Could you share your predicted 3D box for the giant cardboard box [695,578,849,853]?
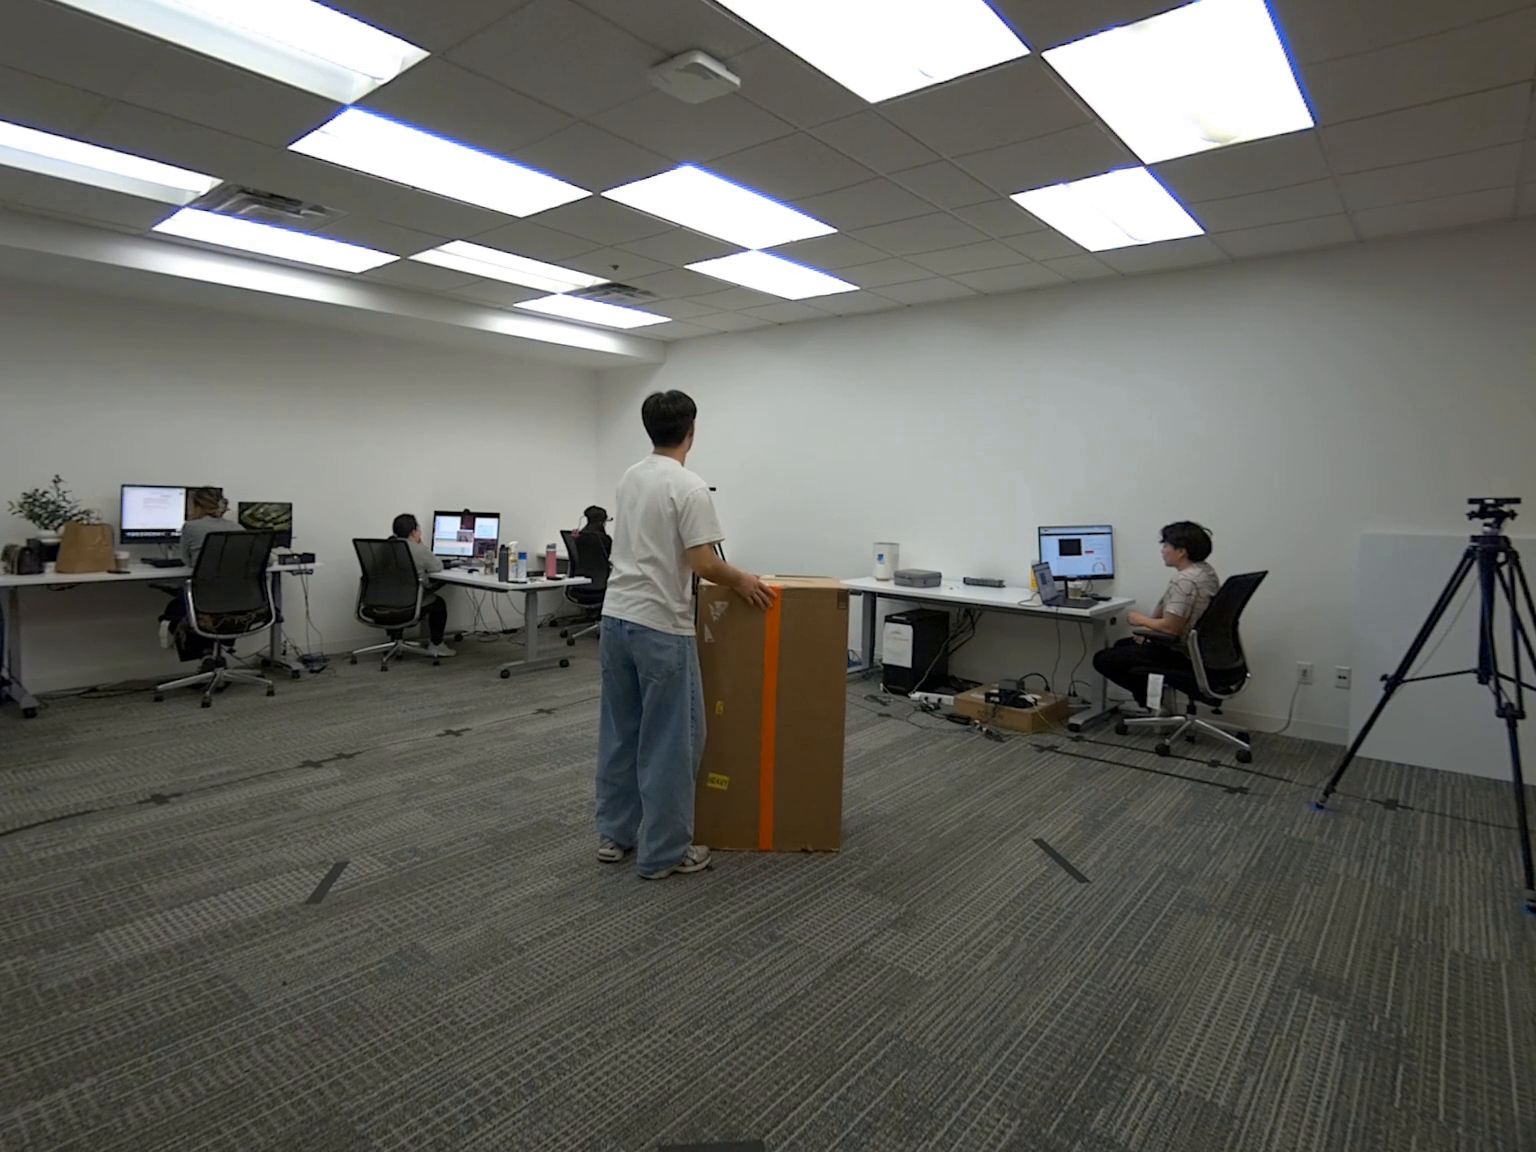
[{"bbox_3d":[-0.012,0.527,3.463,0.577,1.023,0.428,2,3,-2],"label":"giant cardboard box"}]
